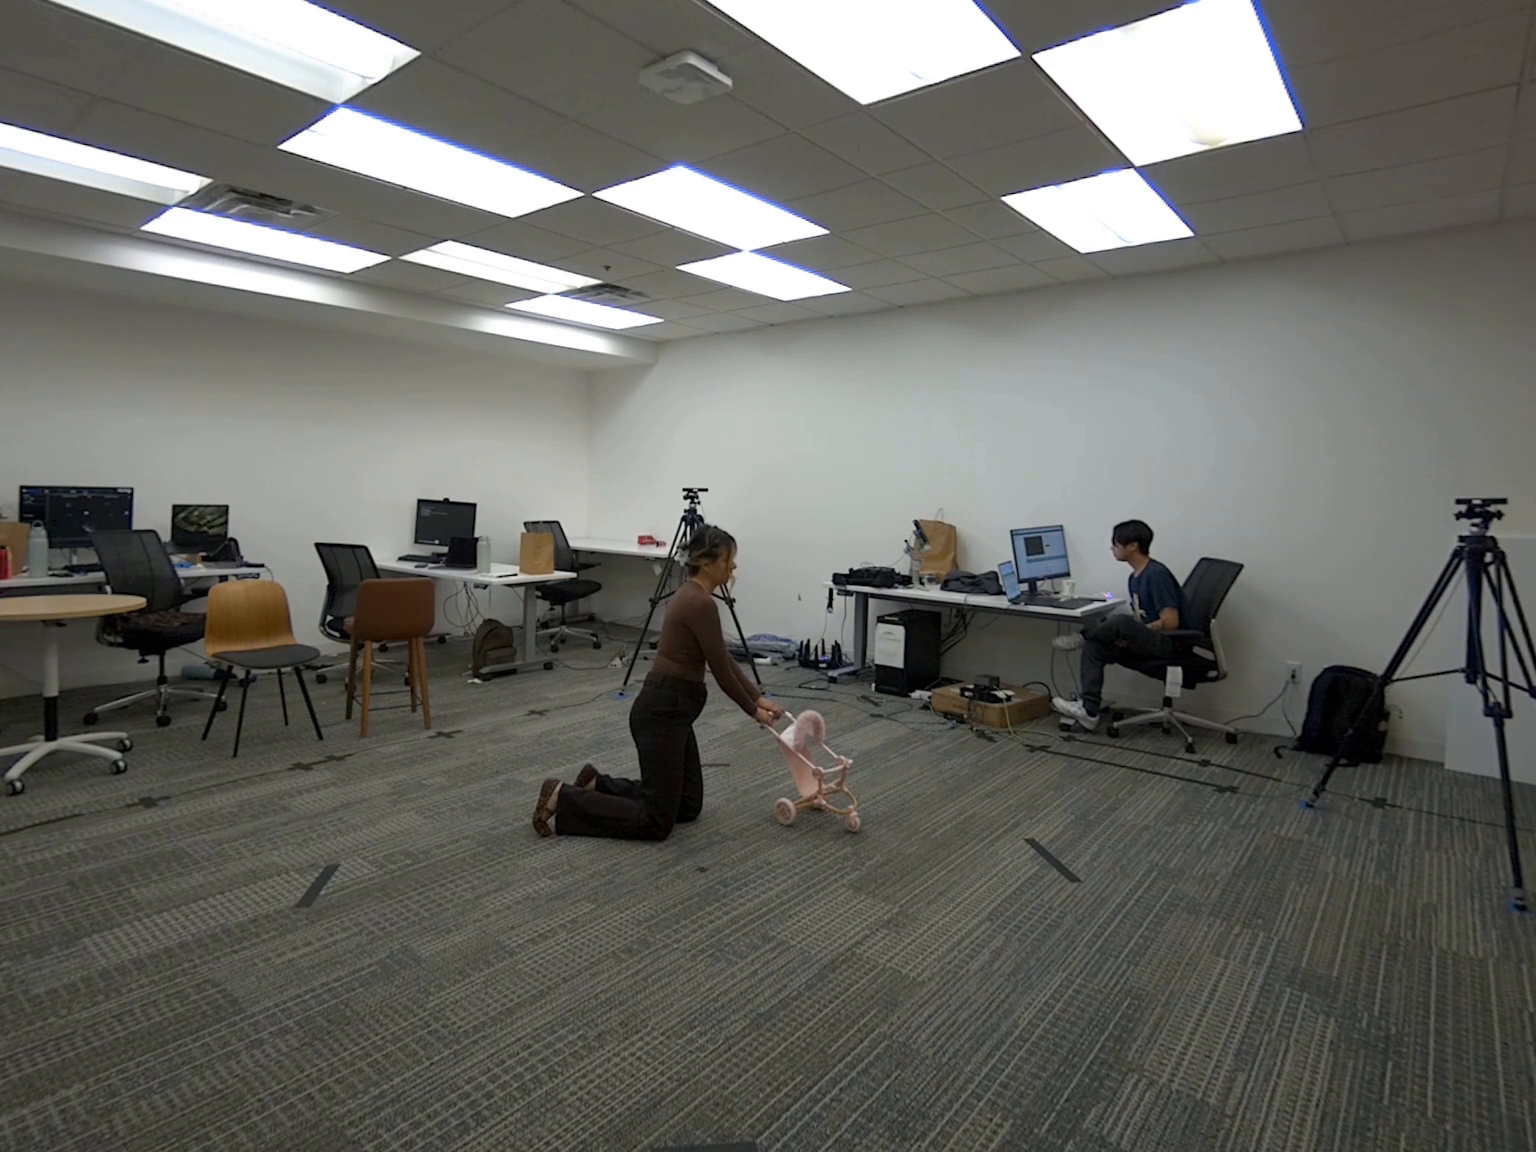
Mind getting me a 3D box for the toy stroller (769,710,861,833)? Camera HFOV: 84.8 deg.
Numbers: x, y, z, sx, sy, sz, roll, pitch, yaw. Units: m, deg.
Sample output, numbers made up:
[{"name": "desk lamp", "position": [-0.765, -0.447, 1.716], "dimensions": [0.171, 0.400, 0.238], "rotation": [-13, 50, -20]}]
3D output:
[{"name": "toy stroller", "position": [0.188, 0.810, 3.589], "dimensions": [0.348, 0.540, 0.273], "rotation": [-18, -9, 39]}]
